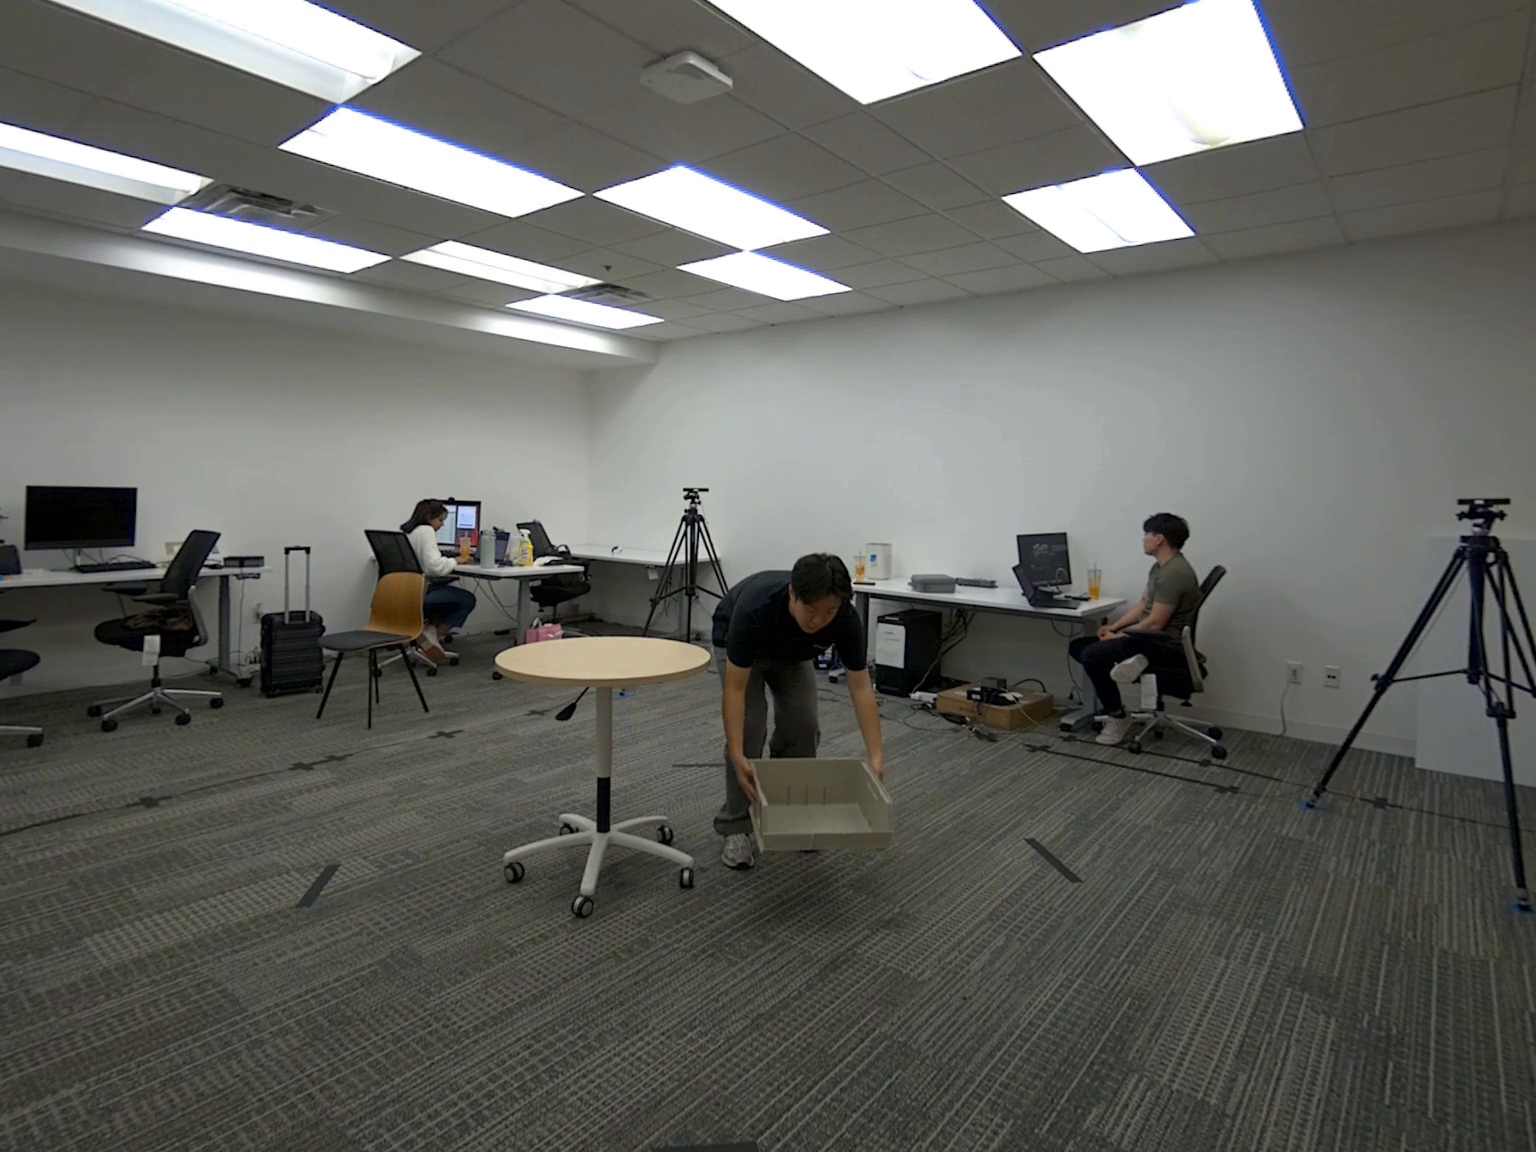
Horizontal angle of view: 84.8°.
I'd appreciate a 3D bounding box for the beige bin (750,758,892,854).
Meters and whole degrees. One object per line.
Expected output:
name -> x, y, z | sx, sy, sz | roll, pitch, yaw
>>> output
beige bin -> 0.162, 0.774, 2.849 | 0.419, 0.187, 0.383 | 1, 9, -7
